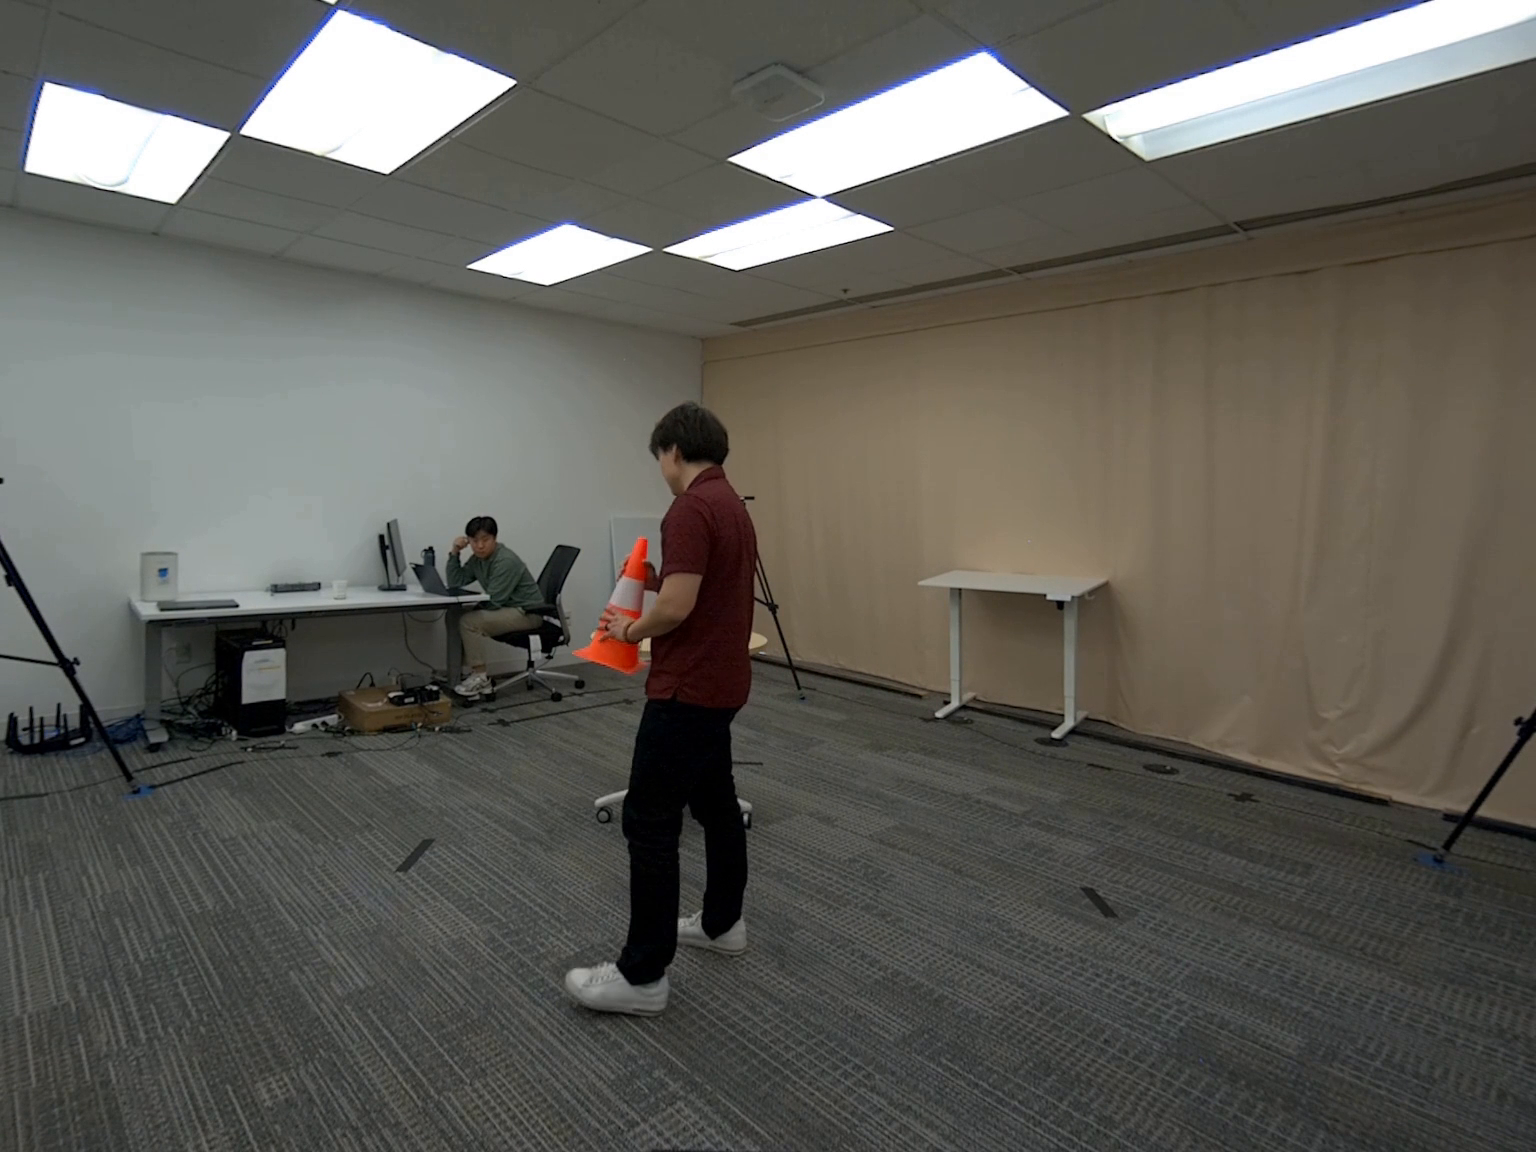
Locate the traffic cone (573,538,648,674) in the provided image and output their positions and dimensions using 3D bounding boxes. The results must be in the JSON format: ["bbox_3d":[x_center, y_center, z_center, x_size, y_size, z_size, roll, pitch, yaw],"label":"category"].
[{"bbox_3d":[-0.423,0.074,2.544,0.206,0.383,0.202,16,3,14],"label":"traffic cone"}]
